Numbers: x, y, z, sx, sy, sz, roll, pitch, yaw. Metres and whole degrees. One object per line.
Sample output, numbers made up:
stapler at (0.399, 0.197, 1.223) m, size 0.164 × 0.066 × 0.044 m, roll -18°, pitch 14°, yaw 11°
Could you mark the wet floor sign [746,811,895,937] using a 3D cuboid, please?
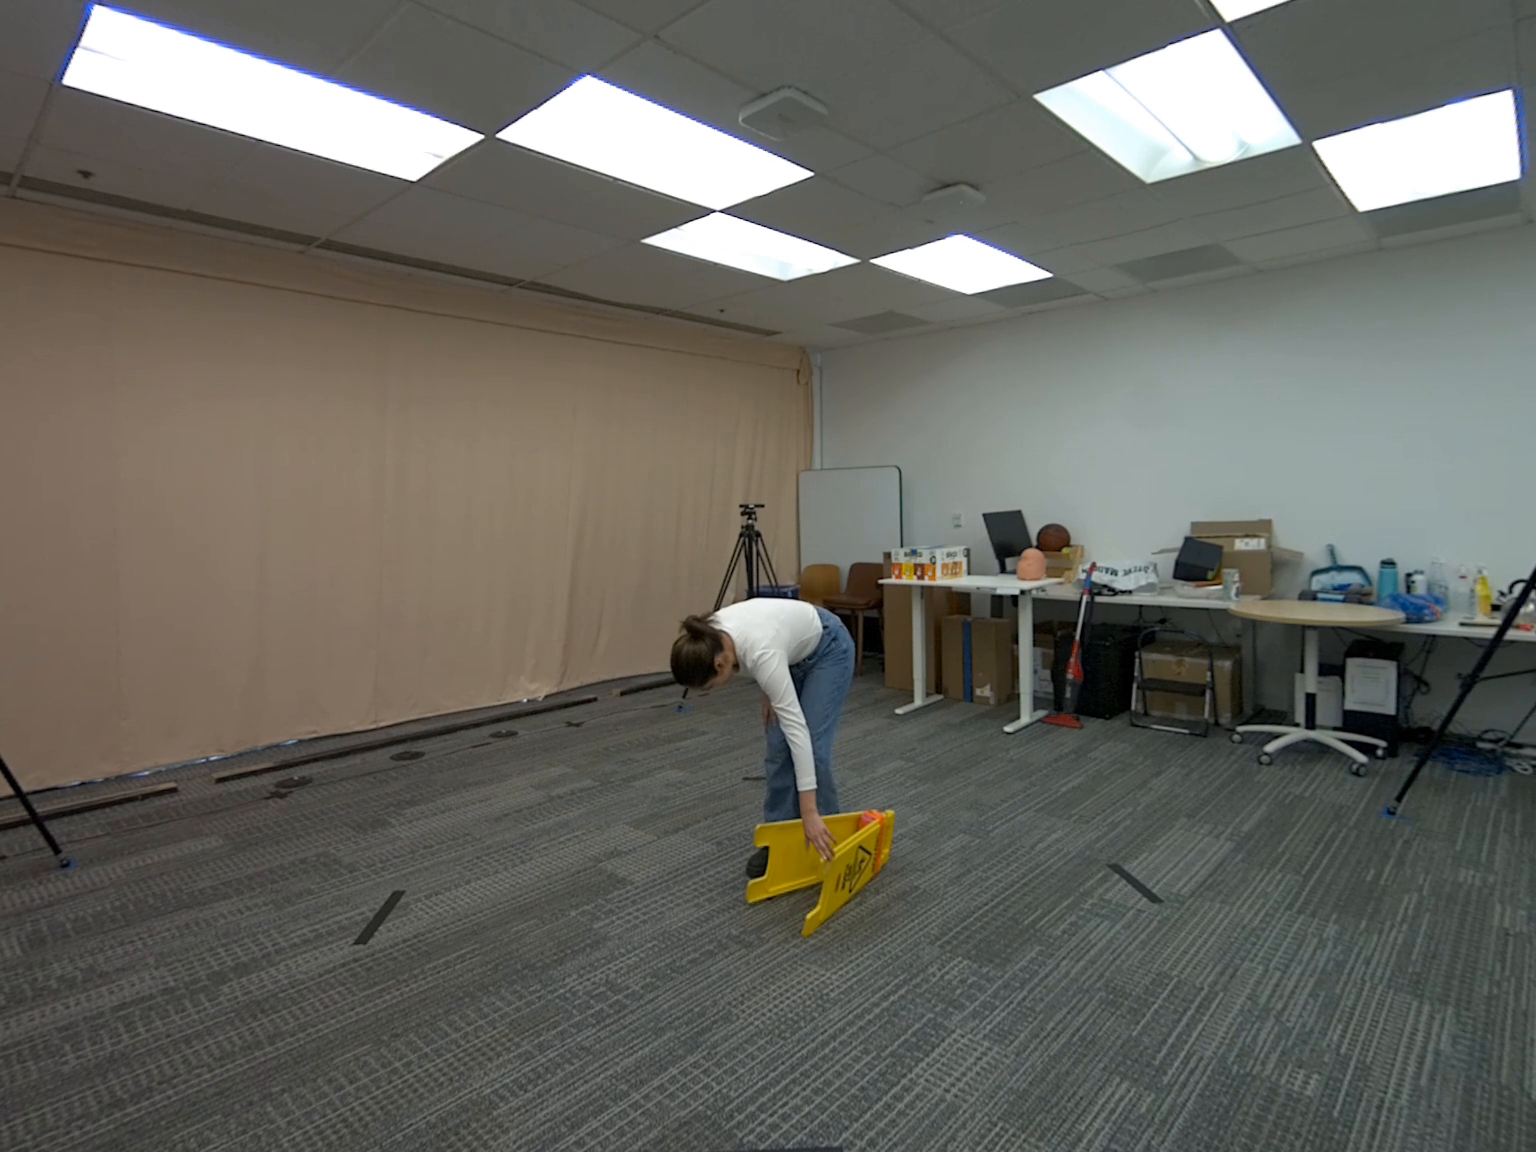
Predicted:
wet floor sign at (0.256, 0.996, 2.999) m, size 0.300 × 0.281 × 0.626 m, roll 15°, pitch 12°, yaw 42°
